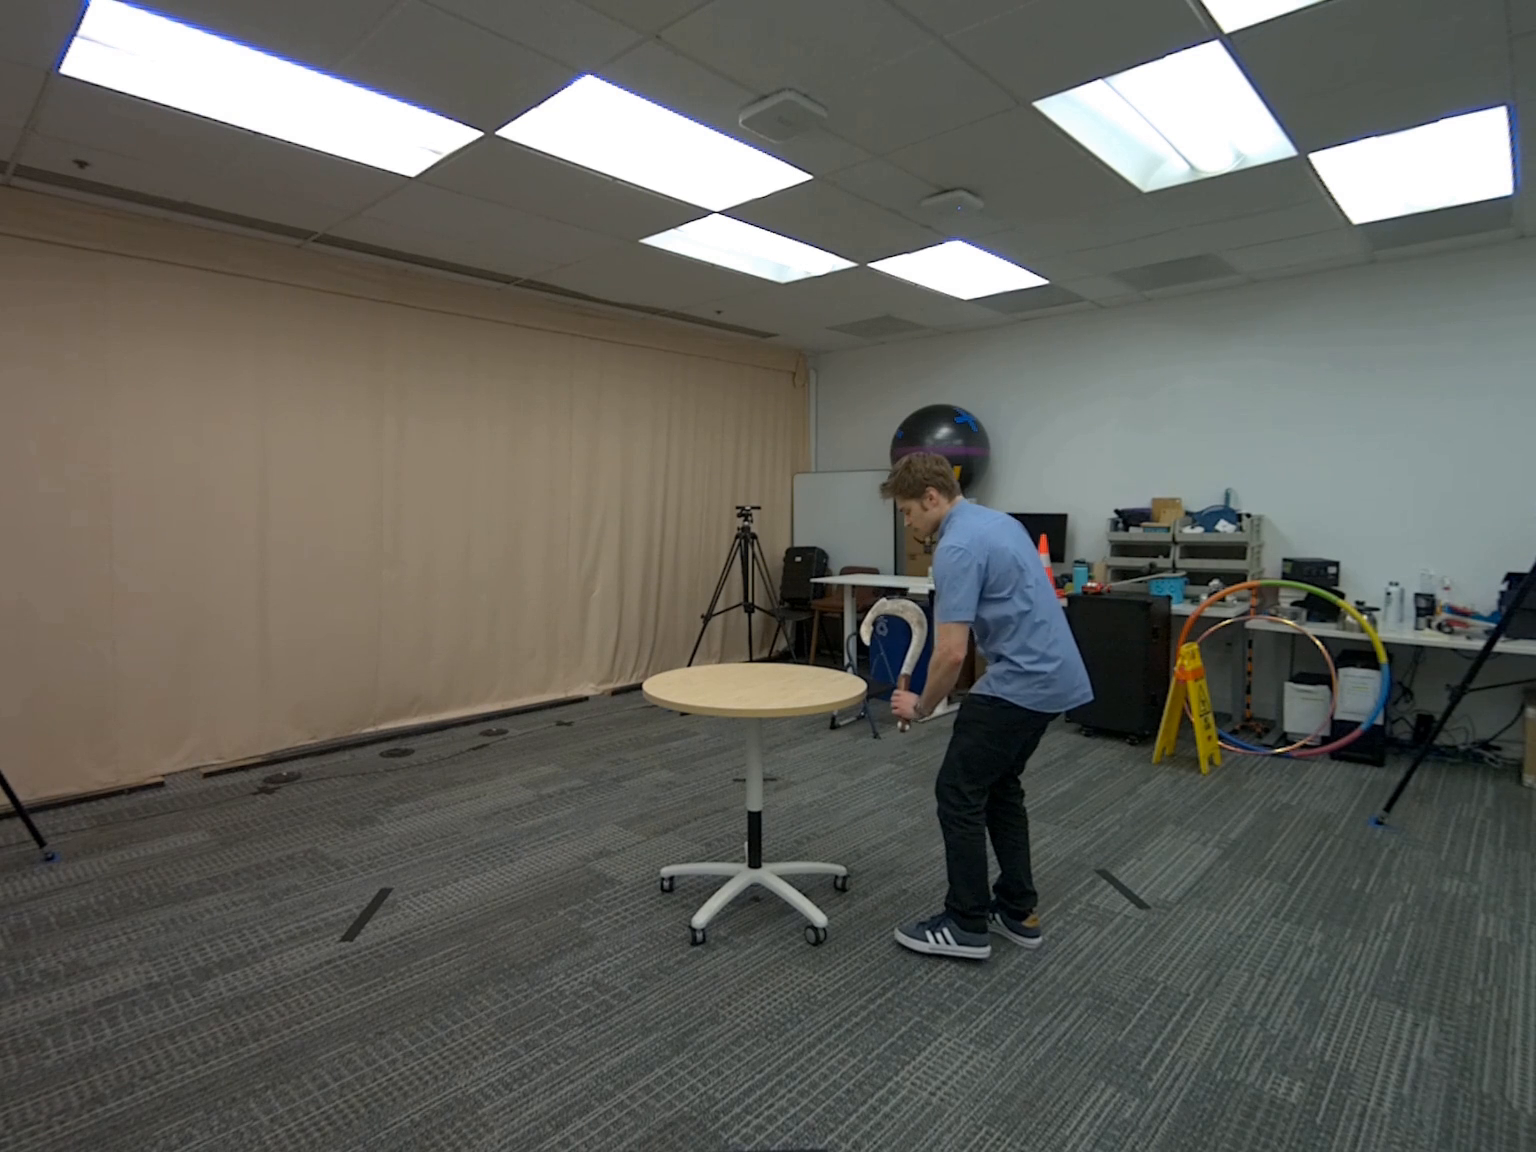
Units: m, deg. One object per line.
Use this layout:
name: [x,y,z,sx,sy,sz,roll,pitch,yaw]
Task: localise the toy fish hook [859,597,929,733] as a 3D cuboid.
toy fish hook: [0.427,0.295,2.878,0.228,0.513,0.047,-1,-36,15]
